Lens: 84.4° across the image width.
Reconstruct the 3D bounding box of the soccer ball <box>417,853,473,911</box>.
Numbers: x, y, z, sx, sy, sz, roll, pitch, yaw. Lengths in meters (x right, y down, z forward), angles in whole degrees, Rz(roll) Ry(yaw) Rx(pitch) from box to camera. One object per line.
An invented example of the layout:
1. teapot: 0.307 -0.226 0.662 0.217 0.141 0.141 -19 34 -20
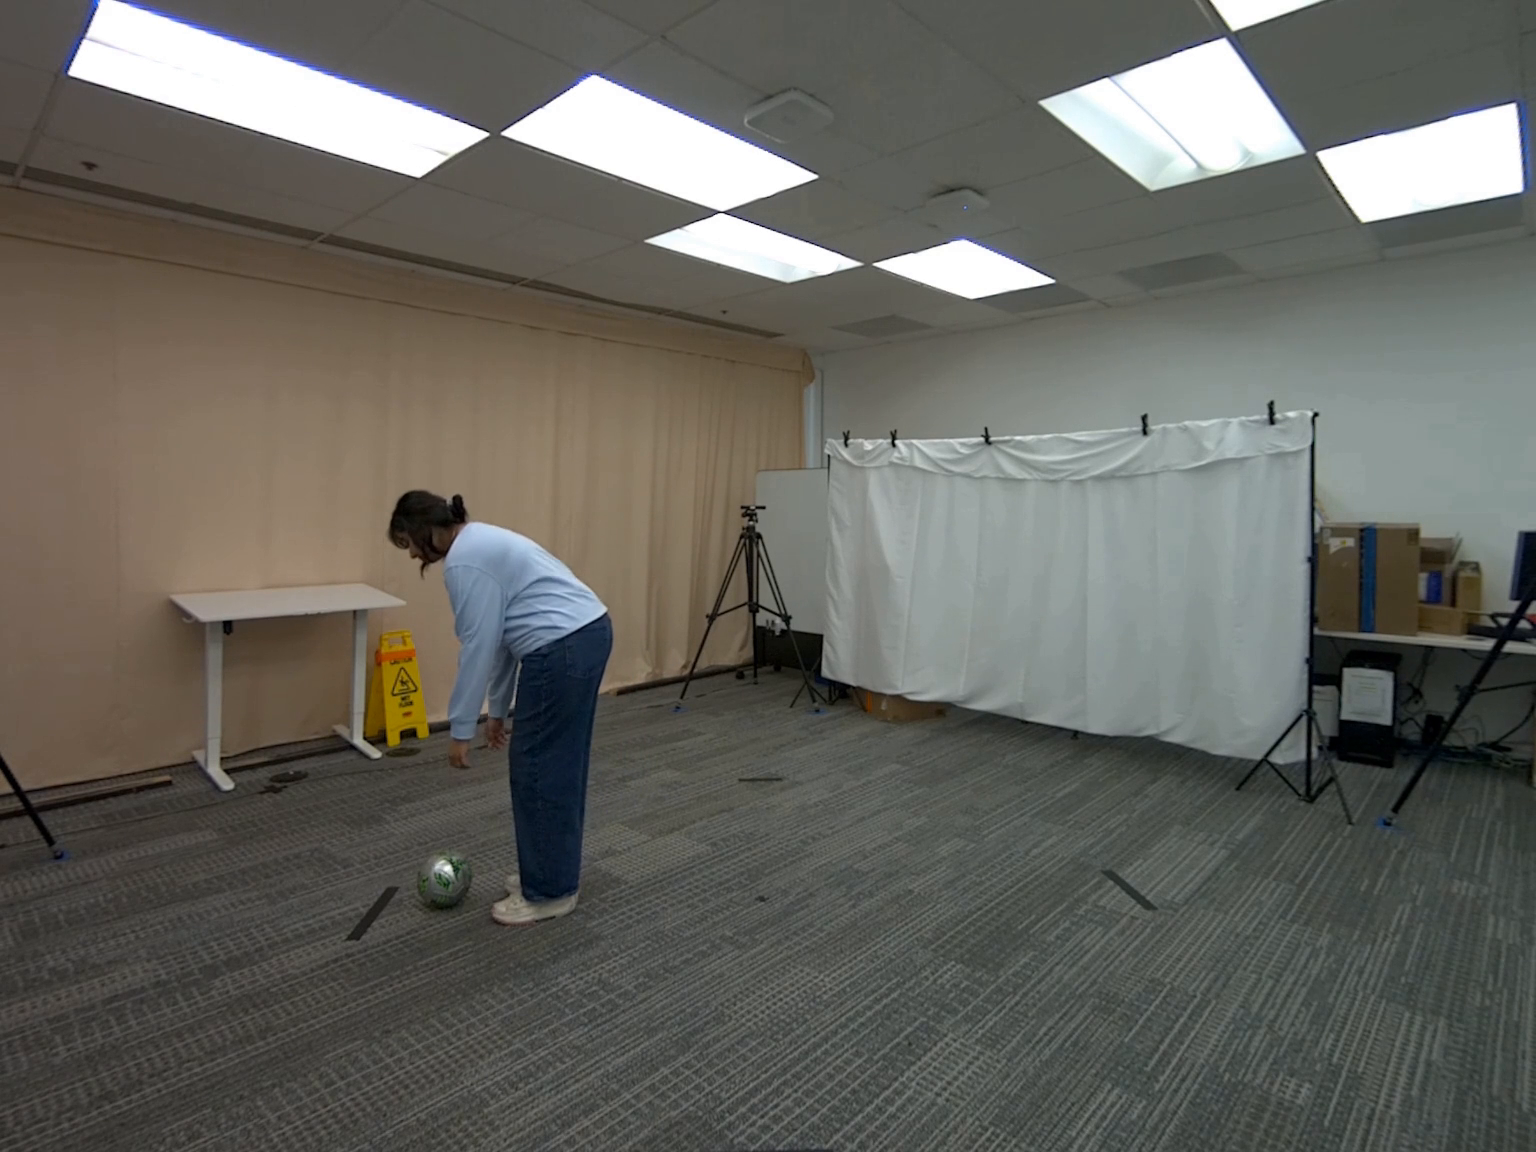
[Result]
1. soccer ball: -1.142 1.072 2.961 0.187 0.187 0.188 0 4 -2
